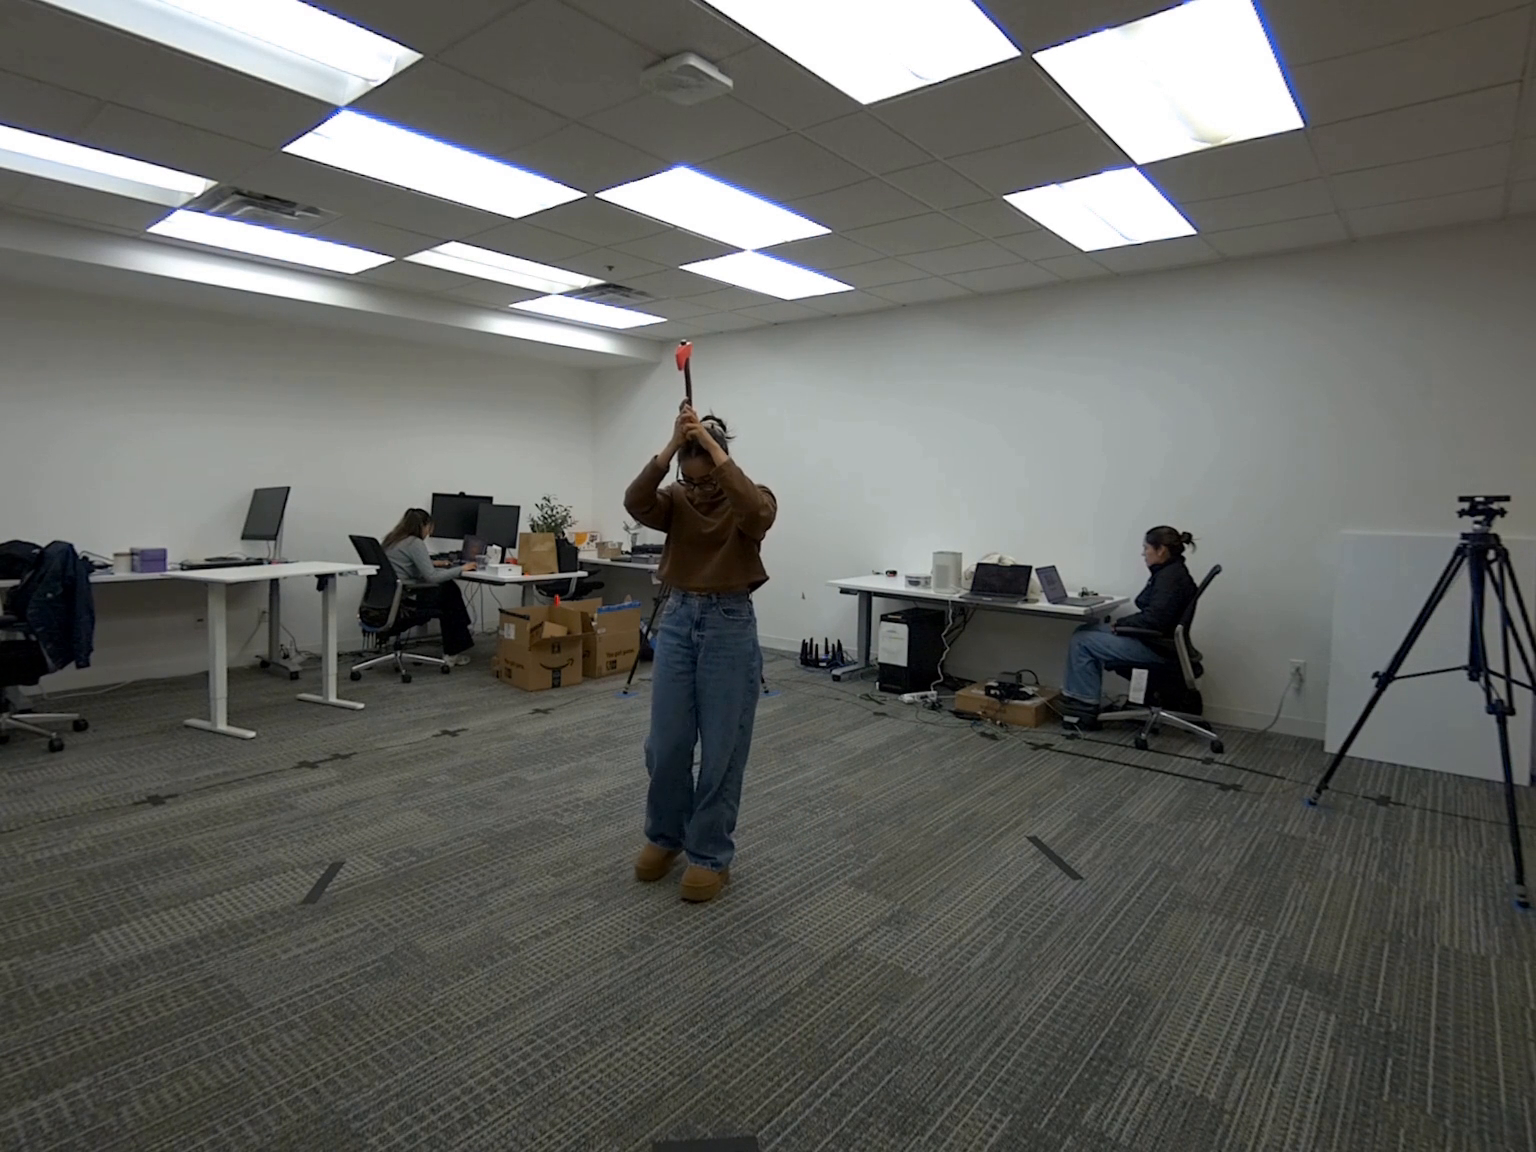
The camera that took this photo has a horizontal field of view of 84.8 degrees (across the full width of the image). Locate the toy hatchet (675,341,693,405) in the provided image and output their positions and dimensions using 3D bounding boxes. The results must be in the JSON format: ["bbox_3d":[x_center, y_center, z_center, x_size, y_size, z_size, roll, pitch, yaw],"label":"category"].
[{"bbox_3d":[-0.280,-0.610,2.688,0.030,0.267,0.130,2,10,14],"label":"toy hatchet"}]
